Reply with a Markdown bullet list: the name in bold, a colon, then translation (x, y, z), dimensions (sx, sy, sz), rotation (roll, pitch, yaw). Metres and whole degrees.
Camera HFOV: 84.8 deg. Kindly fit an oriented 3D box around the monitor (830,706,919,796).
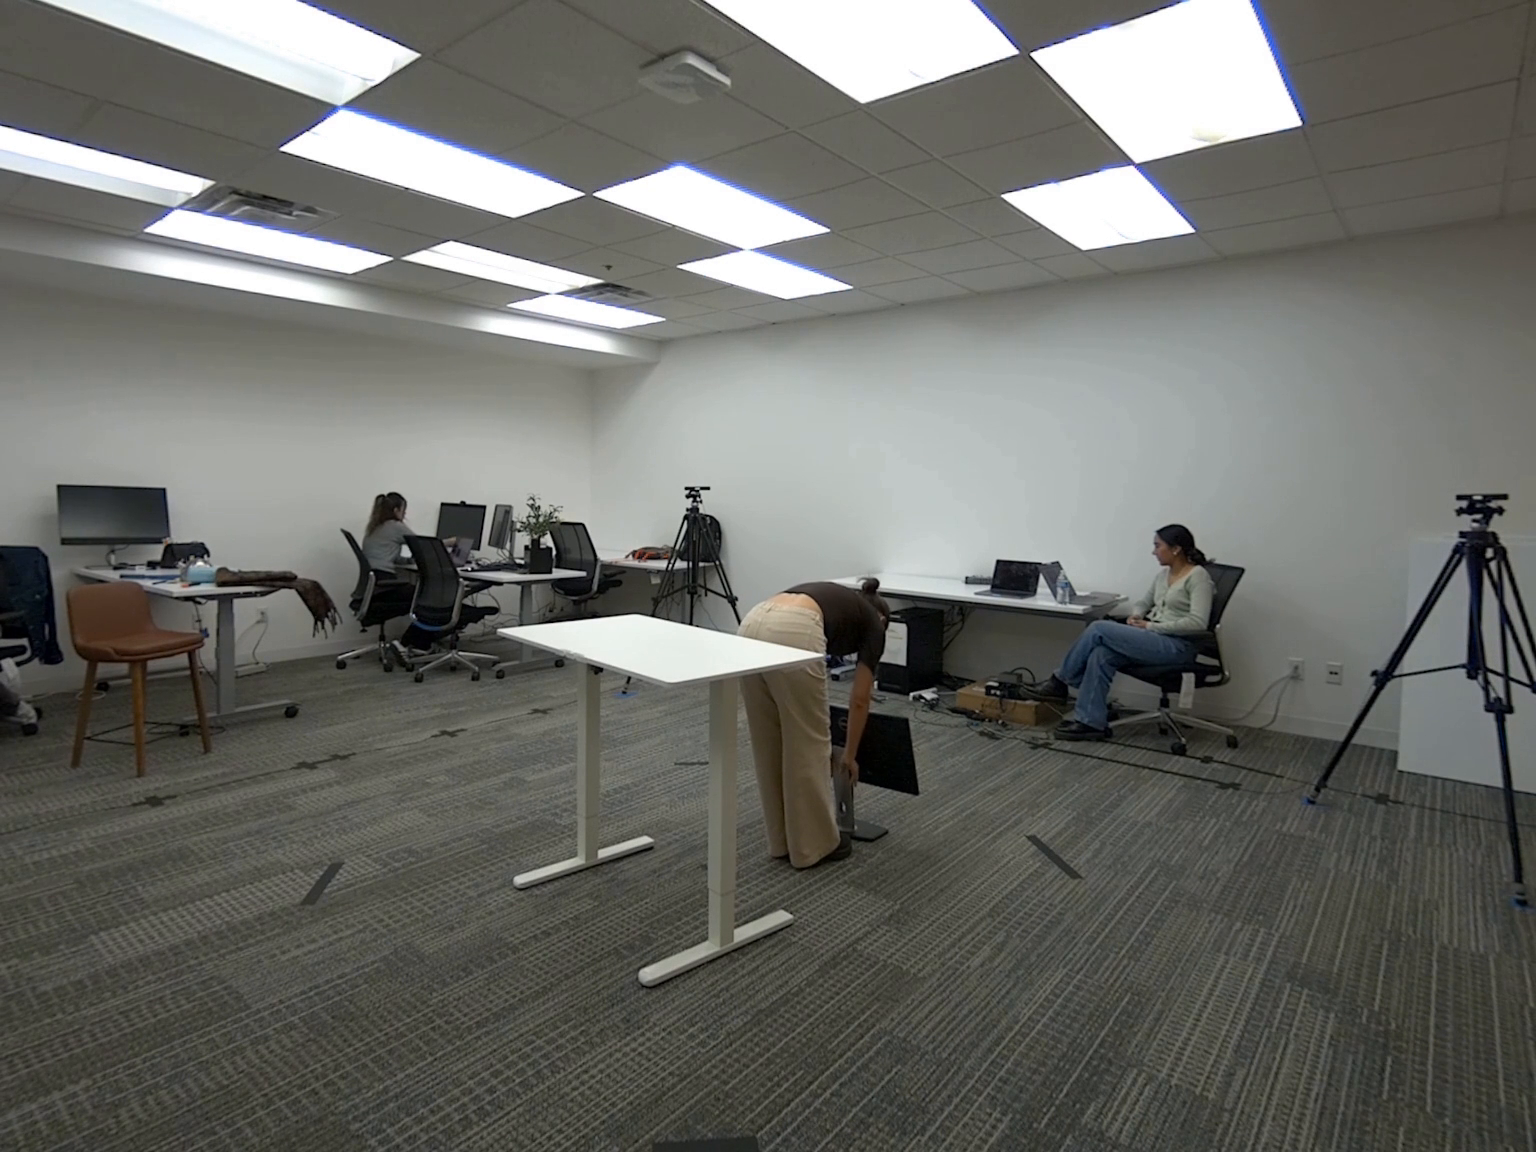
- **monitor**: translation (0.323, 0.783, 3.468), dimensions (0.556, 0.520, 0.182), rotation (3, 6, 35)
